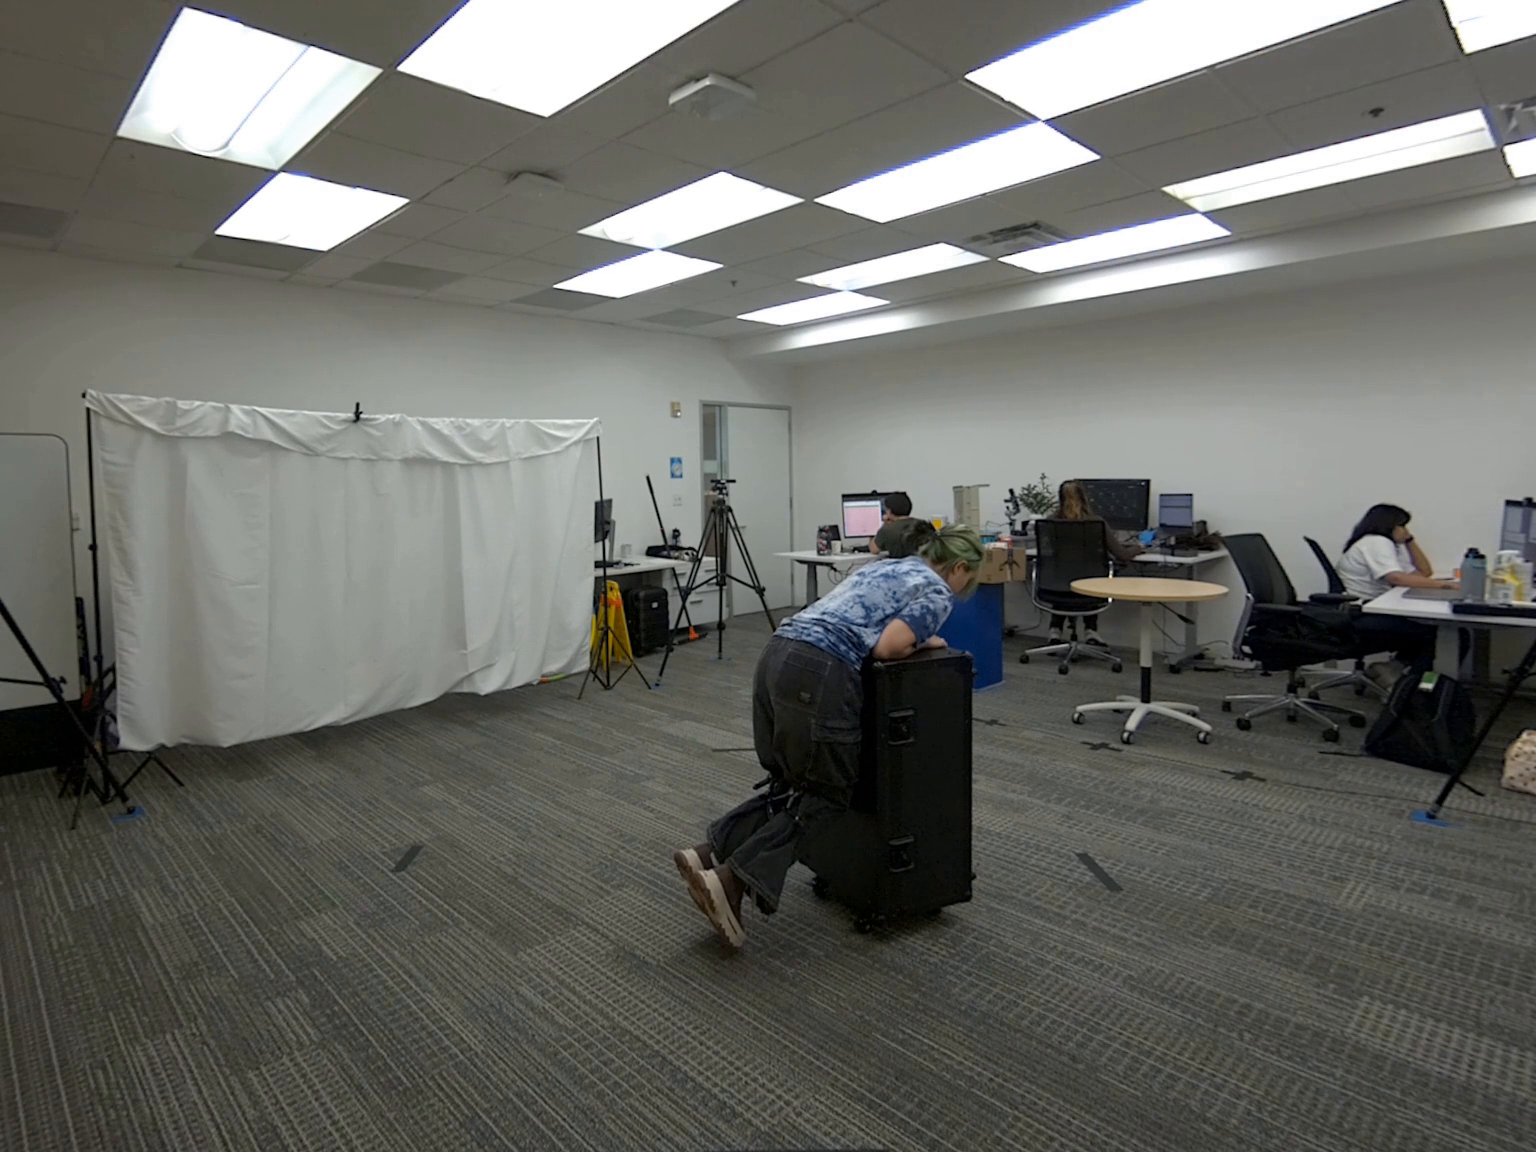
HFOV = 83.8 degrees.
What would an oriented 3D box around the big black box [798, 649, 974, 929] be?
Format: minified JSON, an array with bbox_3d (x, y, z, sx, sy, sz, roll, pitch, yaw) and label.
[{"bbox_3d":[0.385,0.600,2.796,0.388,0.858,0.534,-2,5,-26],"label":"big black box"}]
